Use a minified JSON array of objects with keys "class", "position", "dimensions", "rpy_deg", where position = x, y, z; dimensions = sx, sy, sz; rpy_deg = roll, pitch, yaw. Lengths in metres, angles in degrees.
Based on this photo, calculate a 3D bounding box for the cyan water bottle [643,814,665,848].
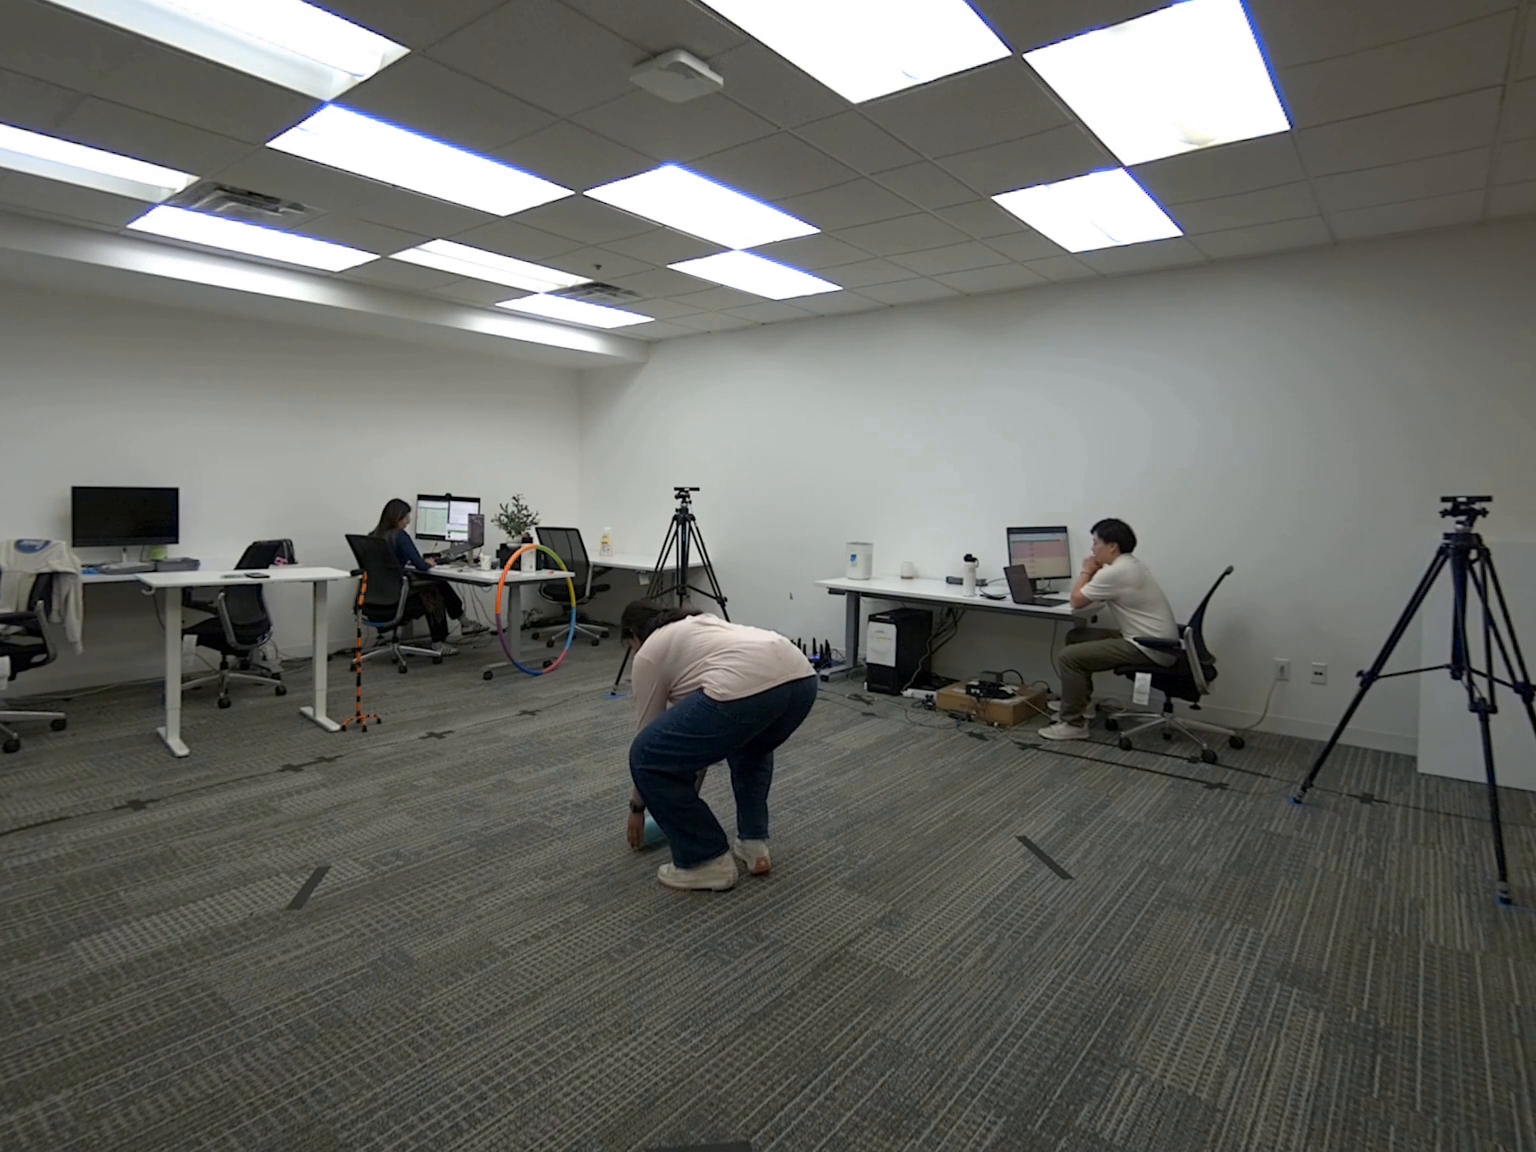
[{"class":"cyan water bottle","position":[-0.421,0.973,3.350],"dimensions":[0.095,0.092,0.275],"rpy_deg":[4,6,35]}]
